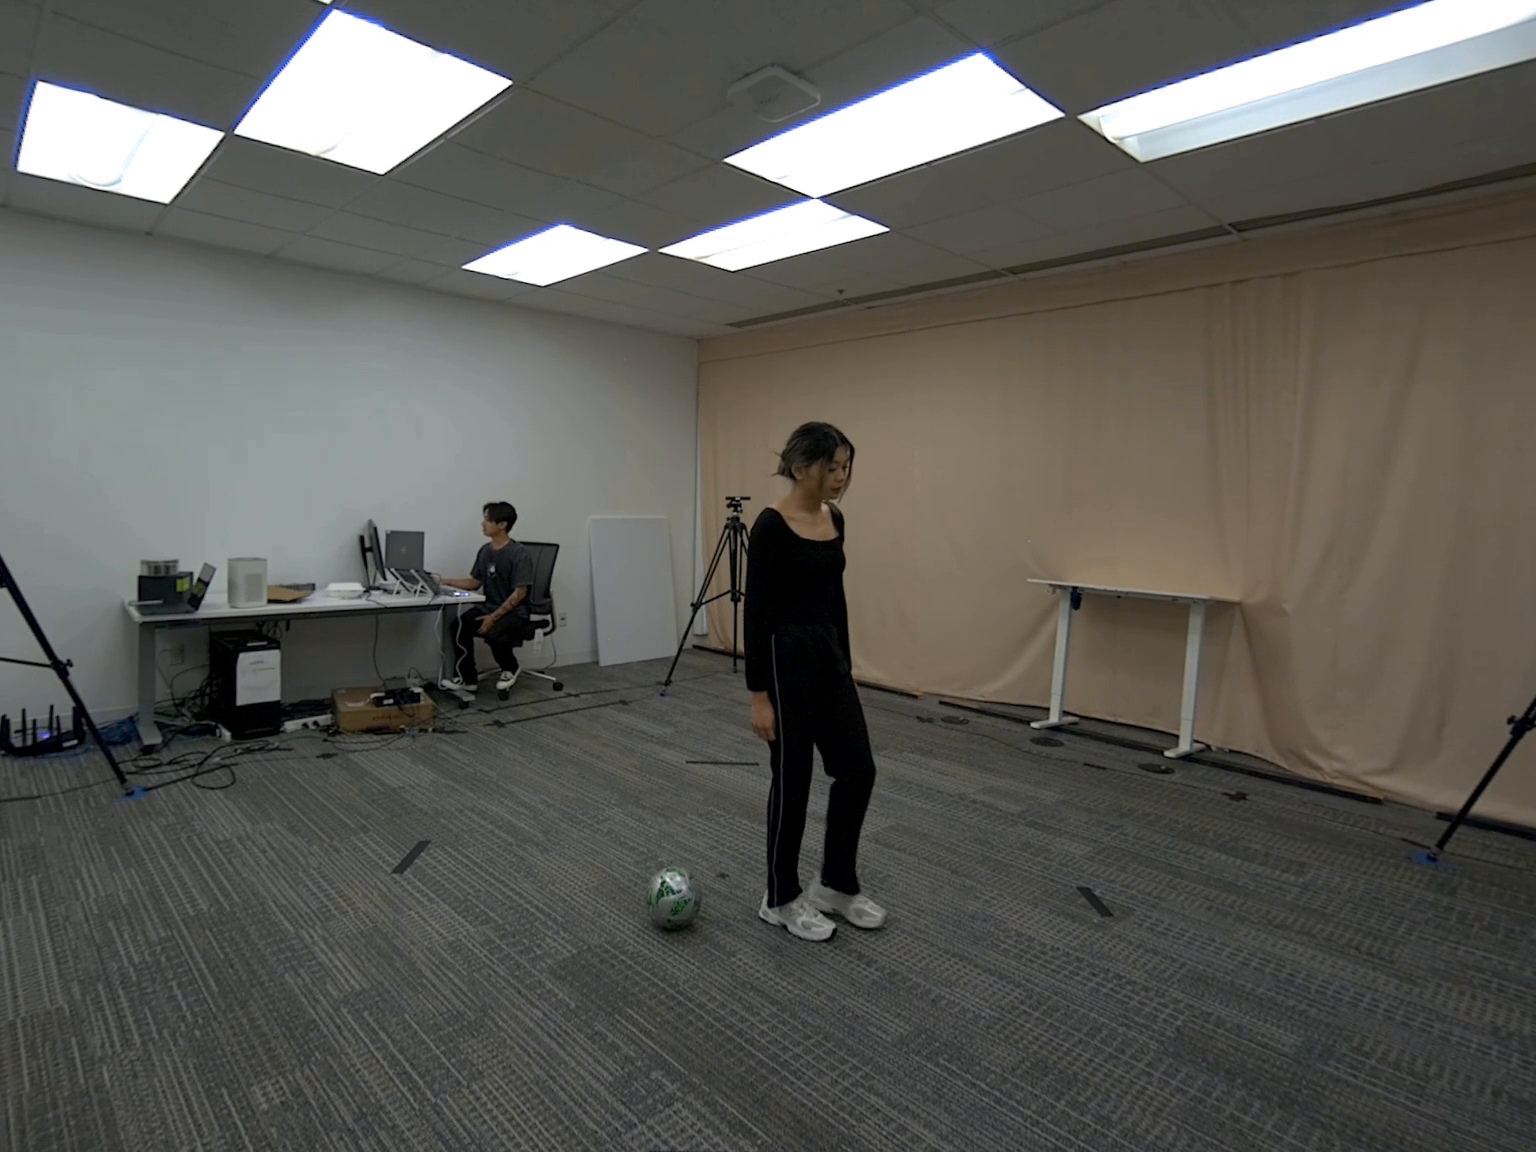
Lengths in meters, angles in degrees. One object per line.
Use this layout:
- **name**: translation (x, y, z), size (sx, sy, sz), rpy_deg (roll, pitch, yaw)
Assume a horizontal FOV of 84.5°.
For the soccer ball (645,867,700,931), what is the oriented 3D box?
- **soccer ball**: translation (-0.307, 1.037, 2.726), size (0.187, 0.187, 0.188), rpy_deg (1, 4, -1)
